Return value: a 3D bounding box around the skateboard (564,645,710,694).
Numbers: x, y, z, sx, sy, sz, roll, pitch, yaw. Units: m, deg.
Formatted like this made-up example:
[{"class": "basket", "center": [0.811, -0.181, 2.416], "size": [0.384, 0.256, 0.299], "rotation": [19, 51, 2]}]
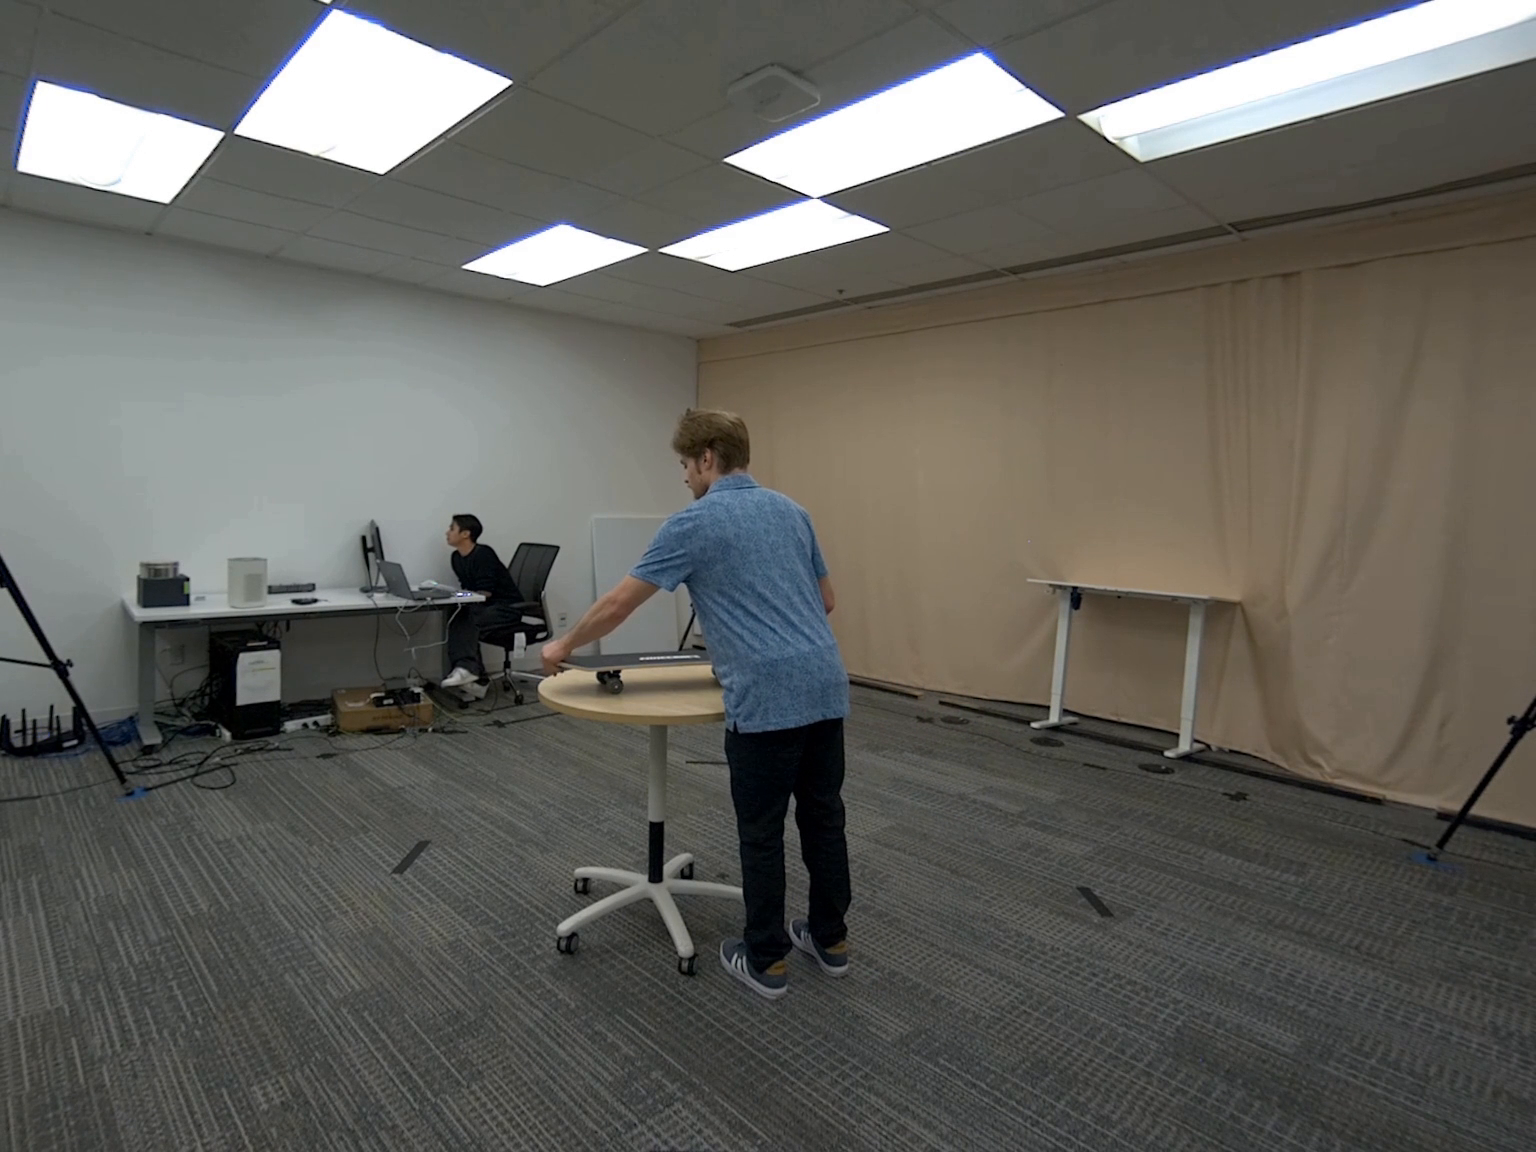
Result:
[{"class": "skateboard", "center": [-0.324, 0.298, 2.709], "size": [0.772, 0.110, 0.197], "rotation": [-1, 6, -23]}]
